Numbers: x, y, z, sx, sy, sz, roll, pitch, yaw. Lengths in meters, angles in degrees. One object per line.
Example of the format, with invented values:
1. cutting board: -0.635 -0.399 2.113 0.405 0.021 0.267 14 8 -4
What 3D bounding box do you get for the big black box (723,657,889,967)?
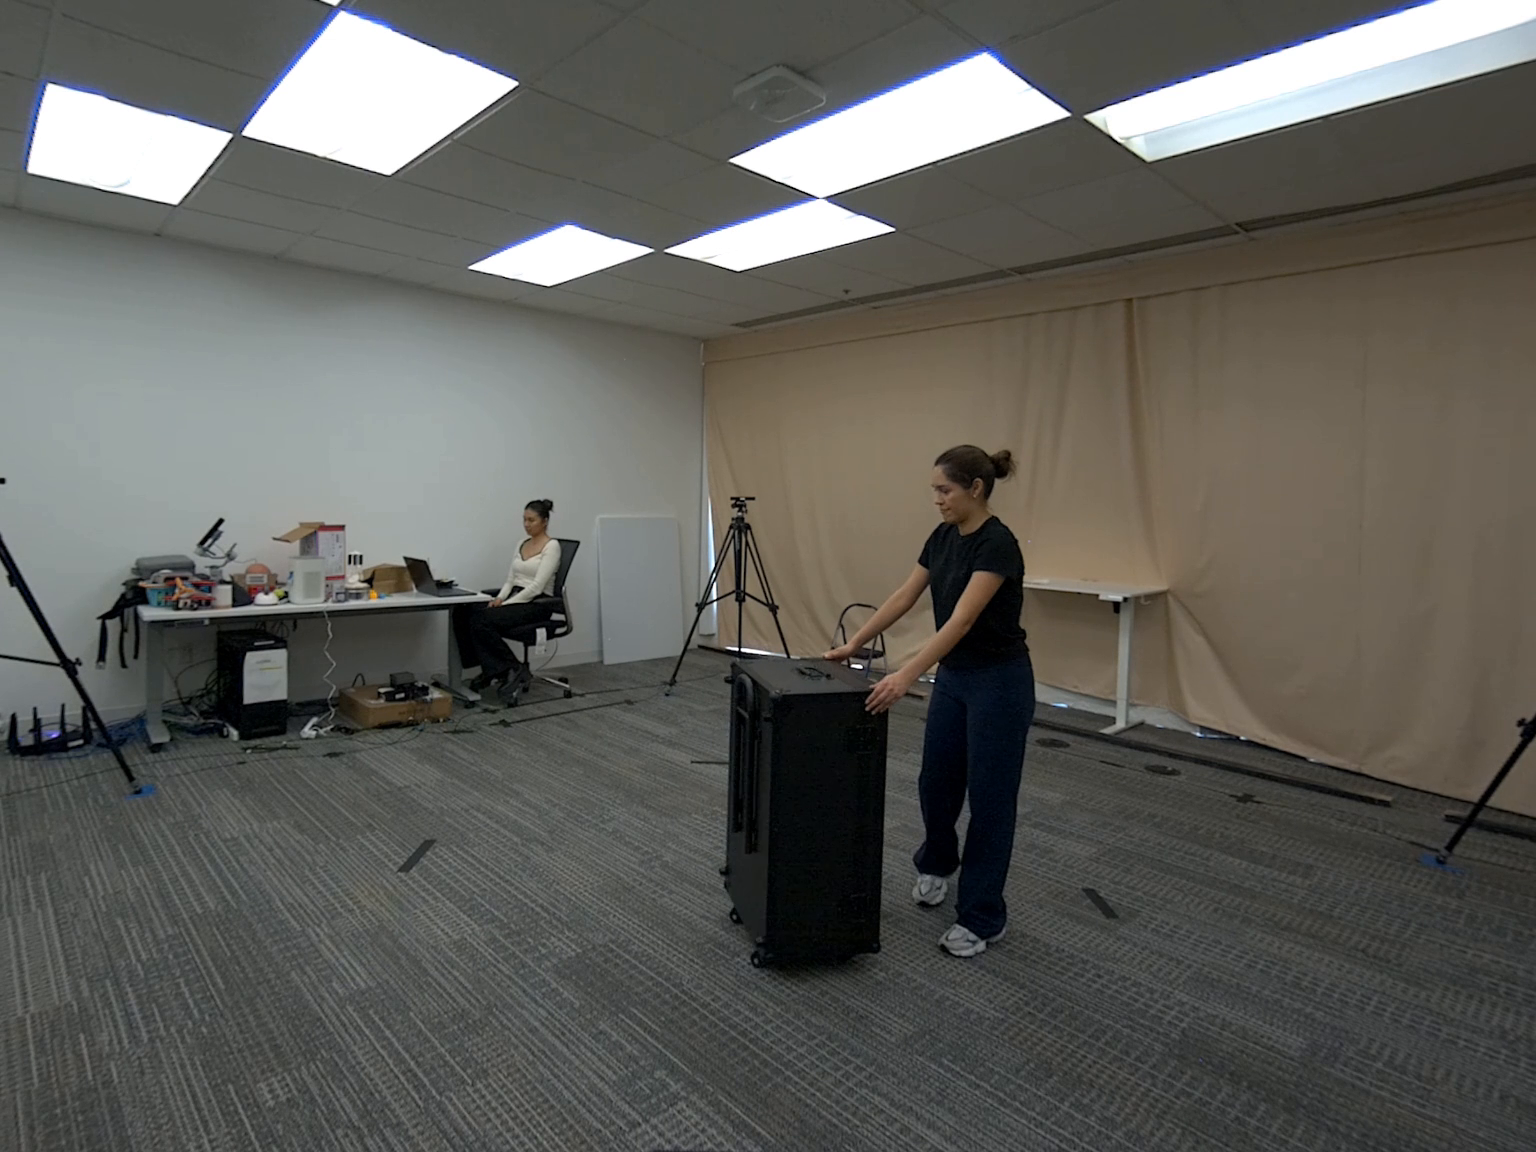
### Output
1. big black box: 0.097 0.731 2.621 0.391 0.859 0.529 0 4 -16
